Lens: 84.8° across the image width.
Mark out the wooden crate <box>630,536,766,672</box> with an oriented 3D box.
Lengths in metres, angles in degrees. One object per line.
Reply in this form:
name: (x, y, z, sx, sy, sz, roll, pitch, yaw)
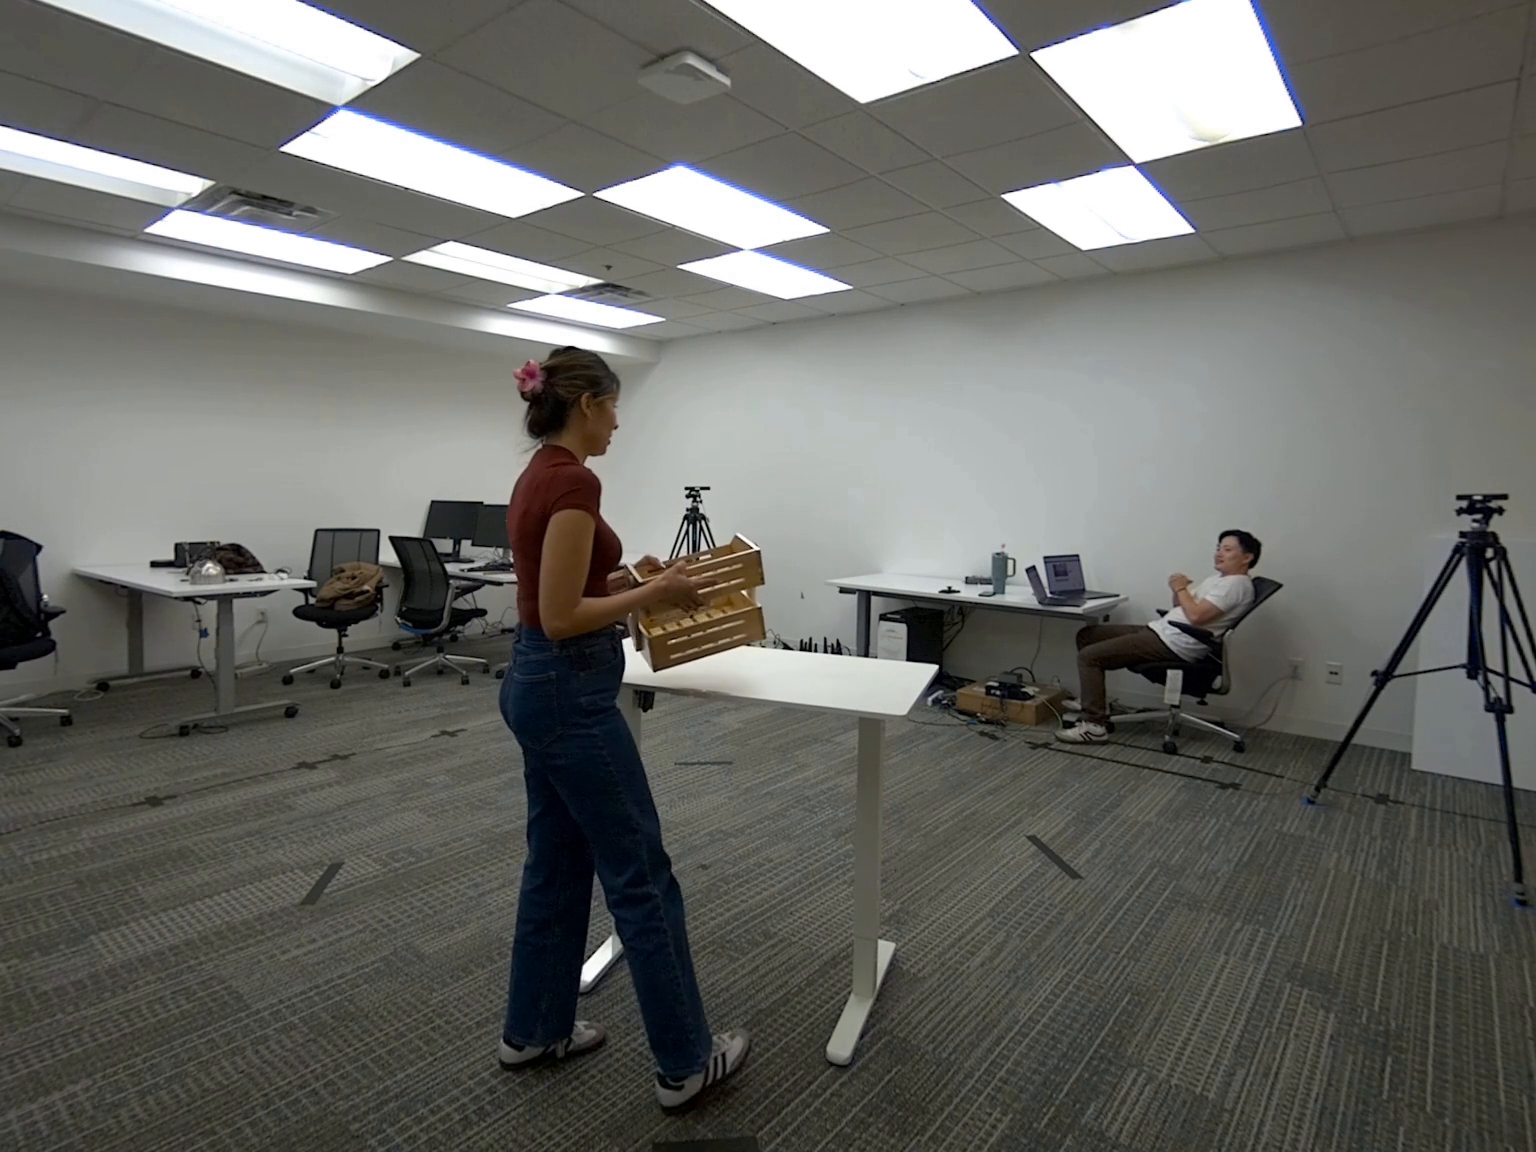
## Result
wooden crate: (-0.208, 0.045, 2.152, 0.320, 0.267, 0.312, -15, 21, -17)
